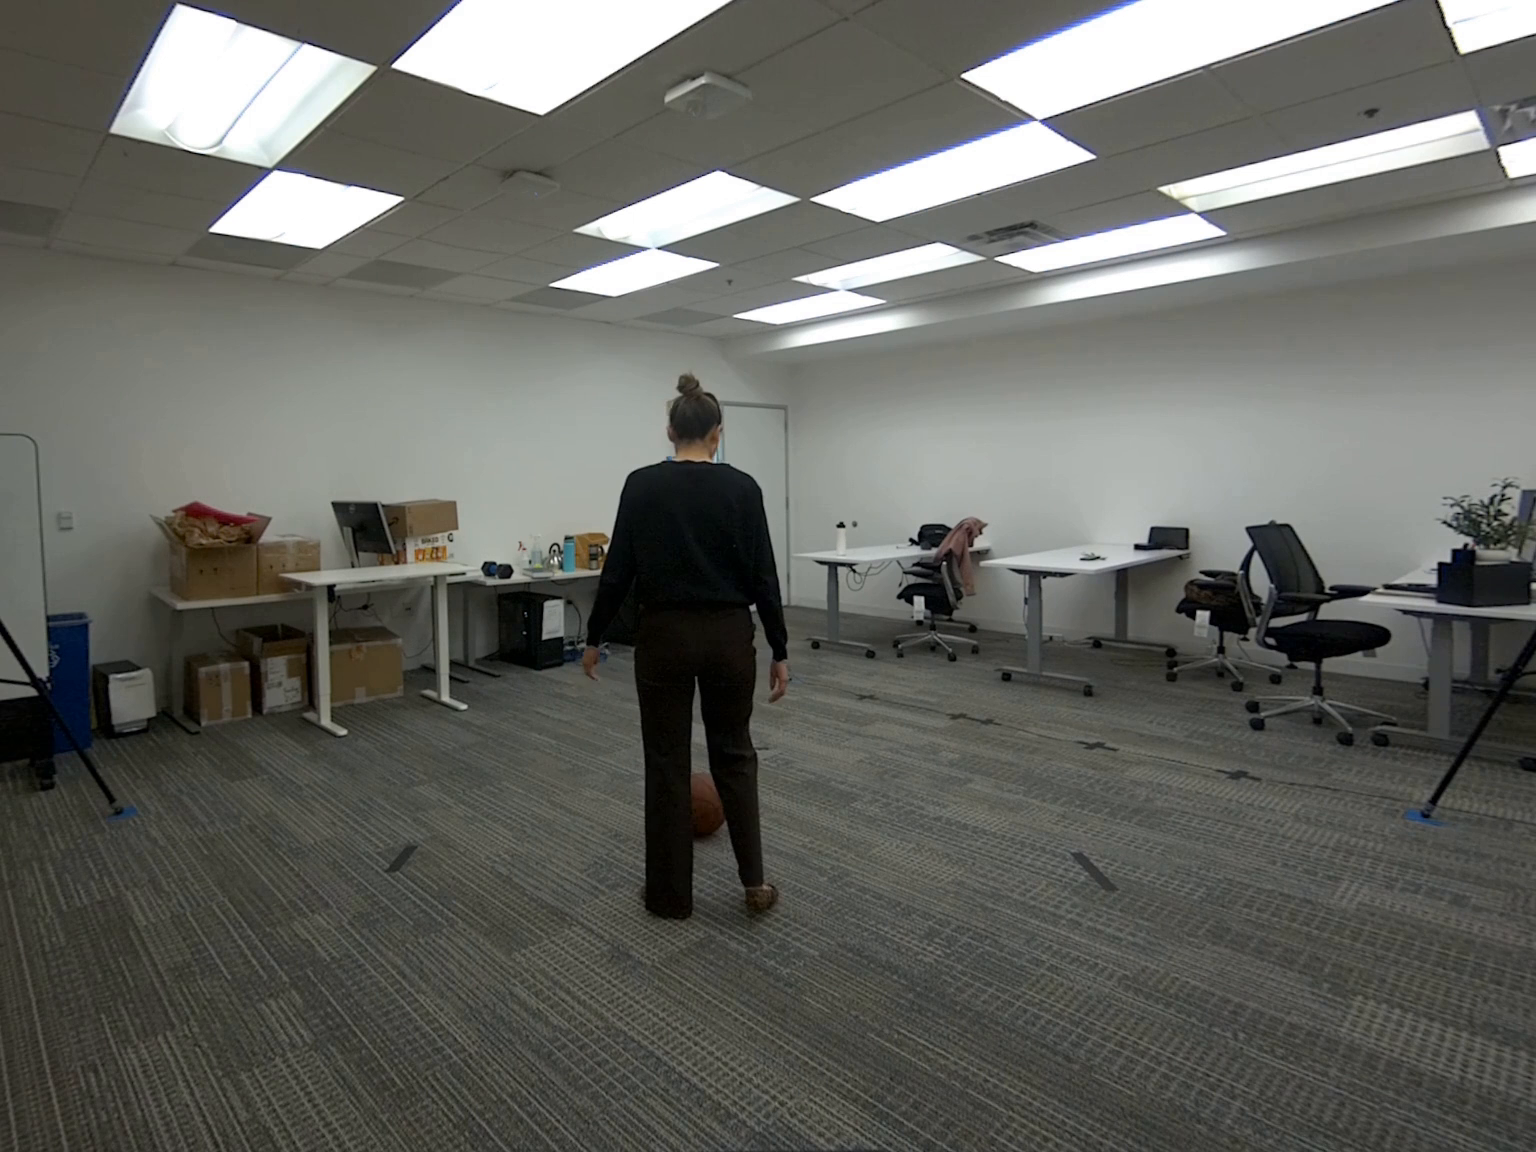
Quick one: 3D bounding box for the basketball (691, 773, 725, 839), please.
[{"bbox_3d":[-0.269,0.903,3.377,0.236,0.235,0.237,-1,5,-2],"label":"basketball"}]
